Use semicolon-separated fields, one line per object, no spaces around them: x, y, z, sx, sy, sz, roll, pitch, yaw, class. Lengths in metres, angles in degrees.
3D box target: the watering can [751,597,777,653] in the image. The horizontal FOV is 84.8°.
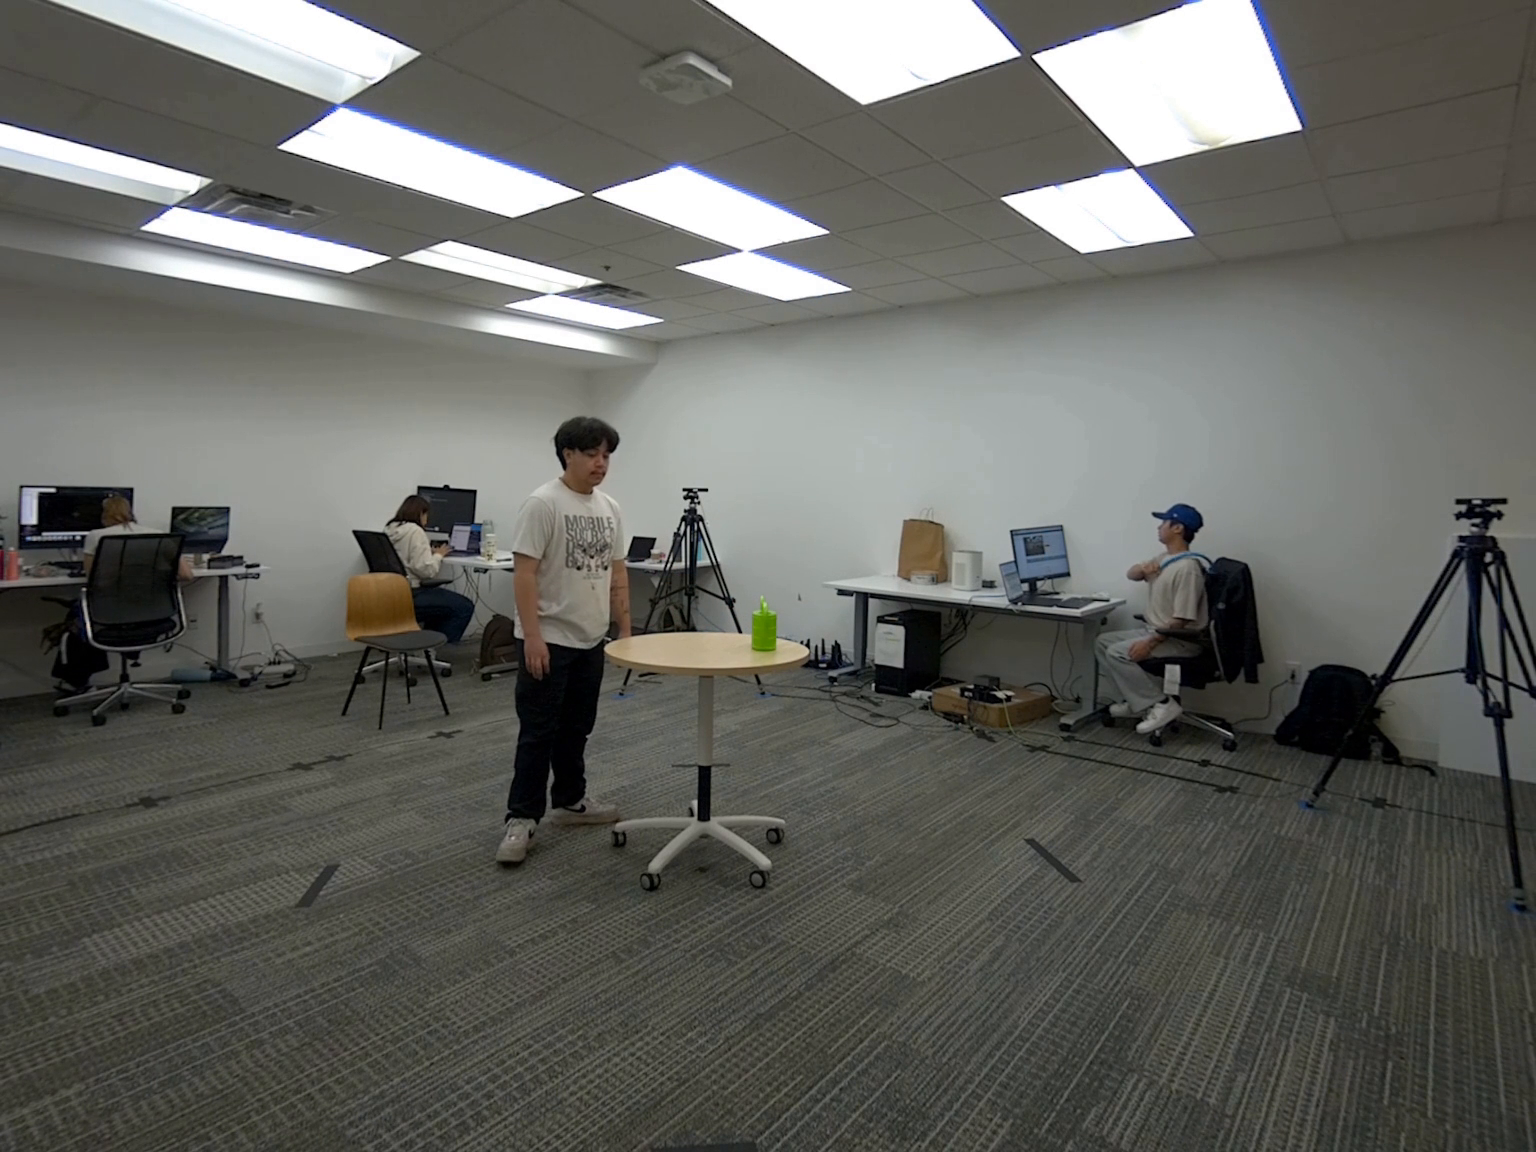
-0.024;0.180;3.252;0.099;0.176;0.275;0;5;14;watering can
